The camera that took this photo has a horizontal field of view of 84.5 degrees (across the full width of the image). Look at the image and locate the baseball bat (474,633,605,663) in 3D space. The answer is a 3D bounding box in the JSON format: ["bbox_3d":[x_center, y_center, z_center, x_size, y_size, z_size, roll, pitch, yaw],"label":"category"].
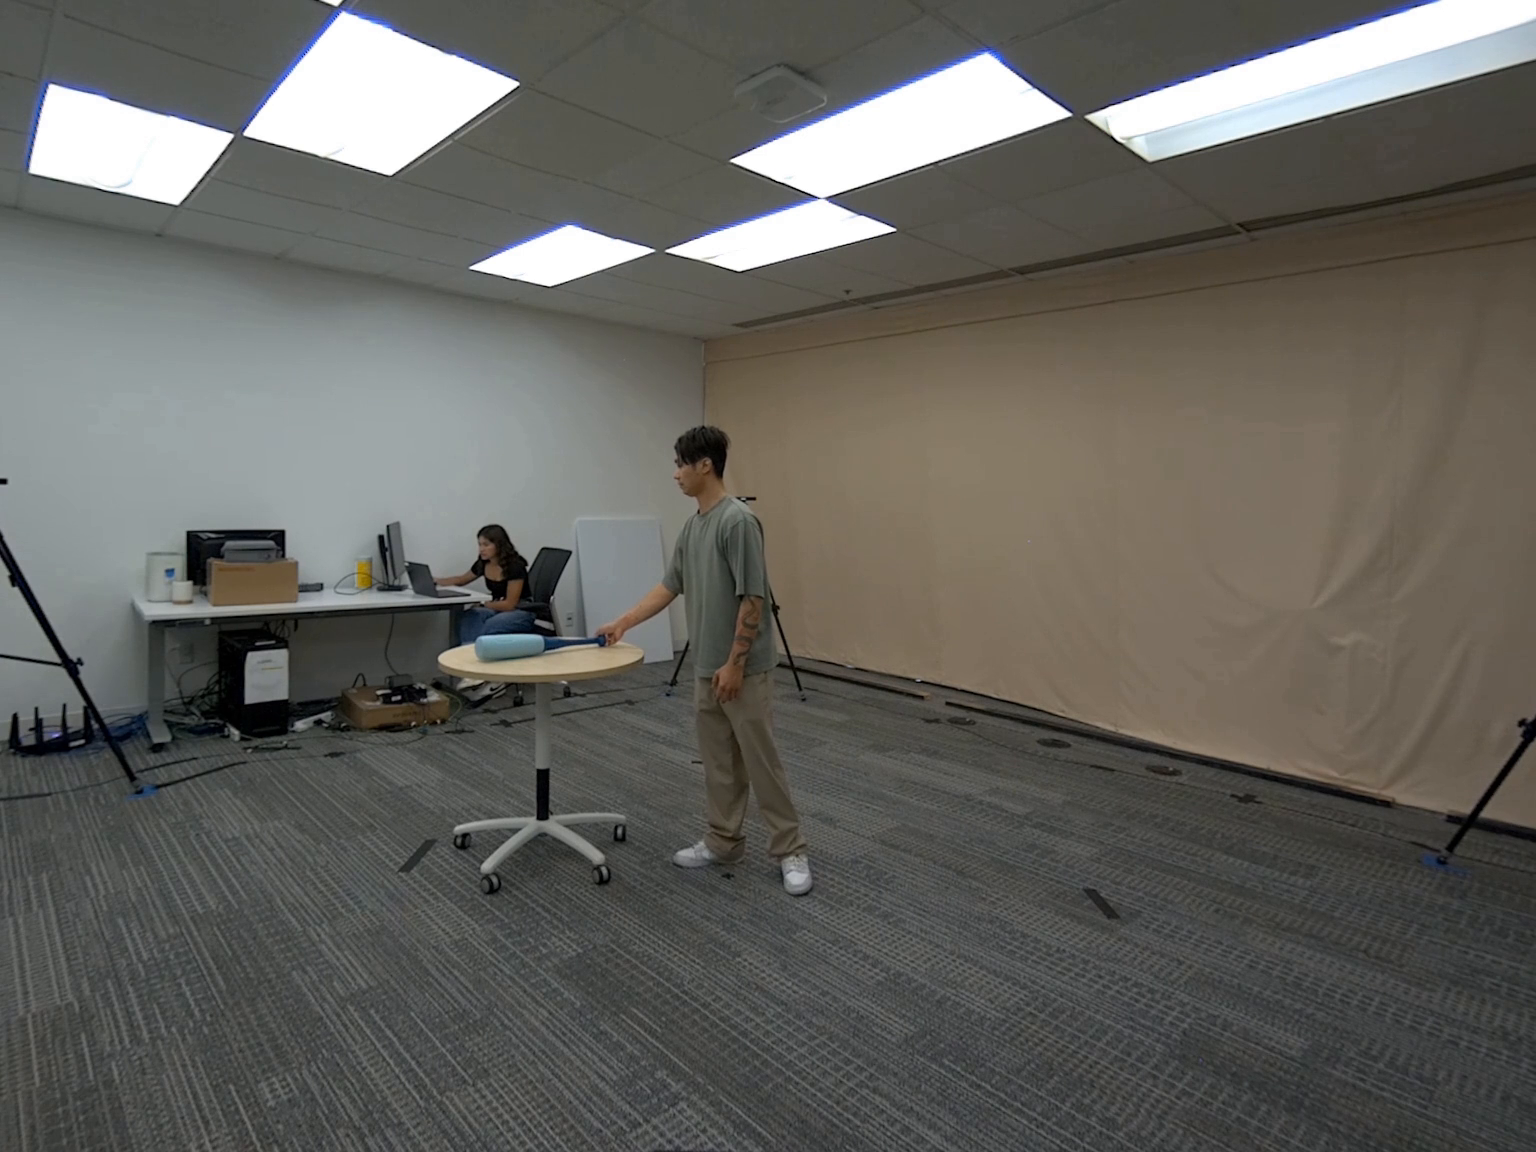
[{"bbox_3d":[-0.854,0.260,3.211,0.530,0.089,0.091,-1,4,-42],"label":"baseball bat"}]
